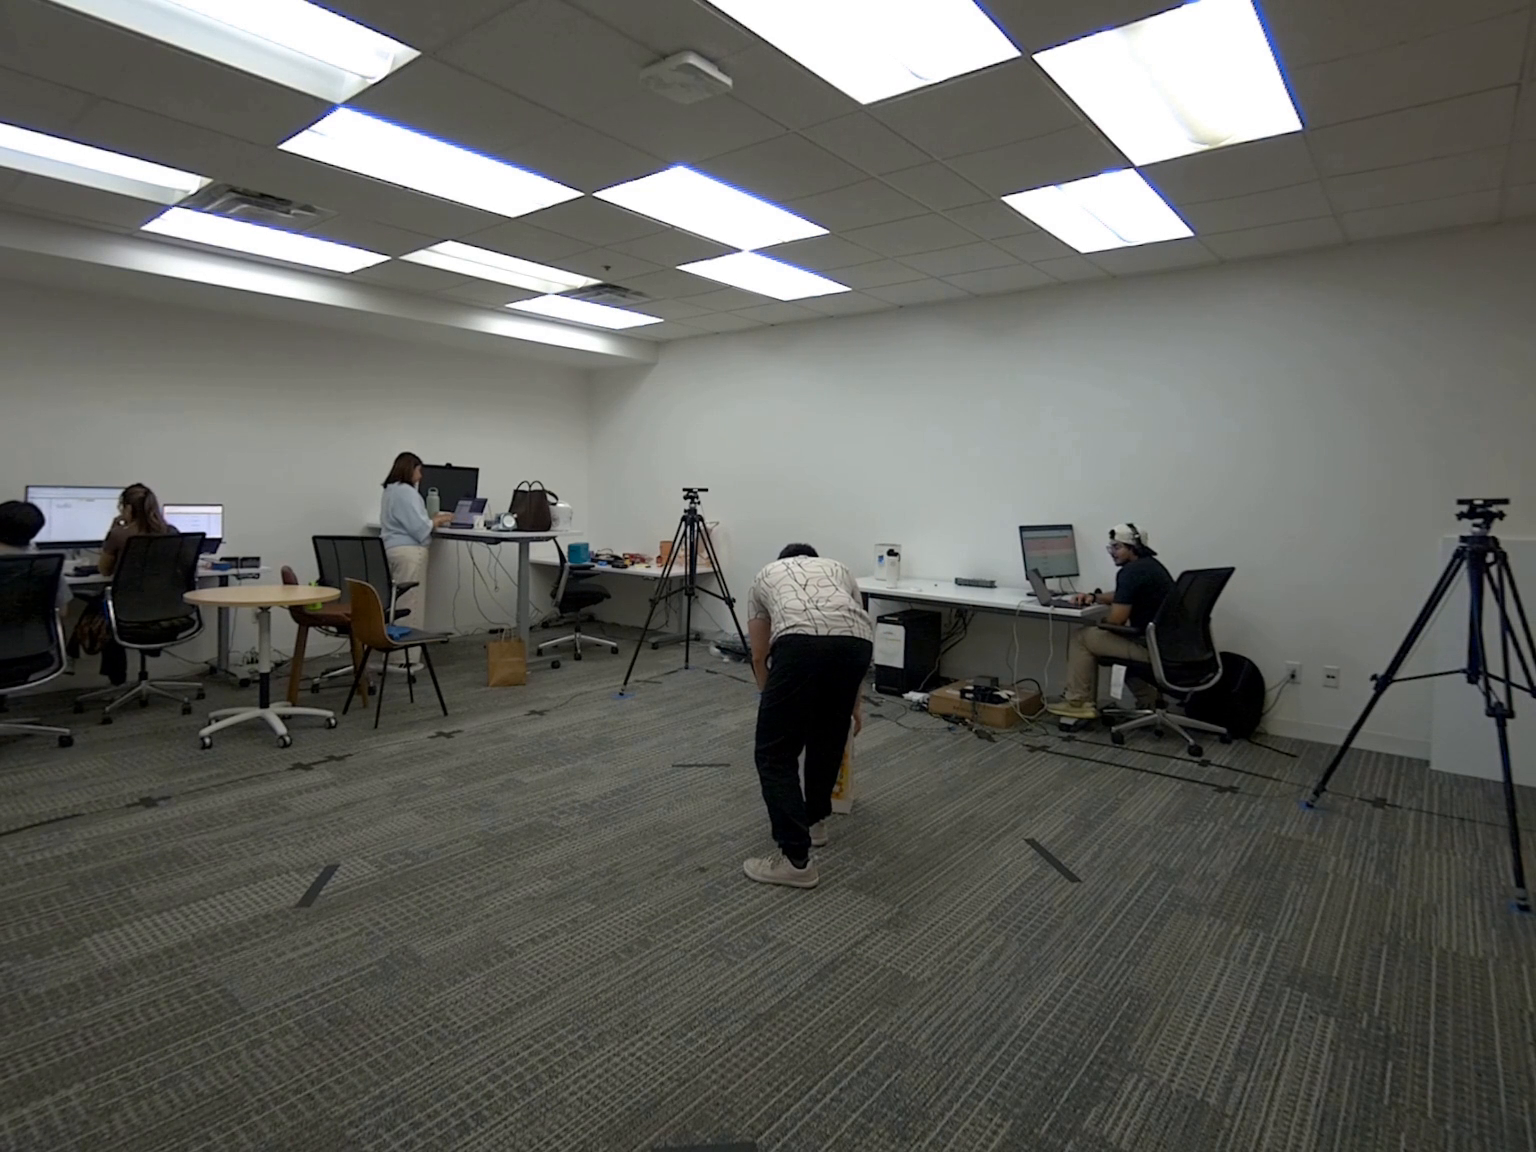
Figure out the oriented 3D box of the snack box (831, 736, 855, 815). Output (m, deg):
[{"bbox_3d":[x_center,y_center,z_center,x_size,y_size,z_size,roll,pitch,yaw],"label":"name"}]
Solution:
[{"bbox_3d":[0.202,0.804,3.796,0.346,0.404,0.203,2,4,14],"label":"snack box"}]
